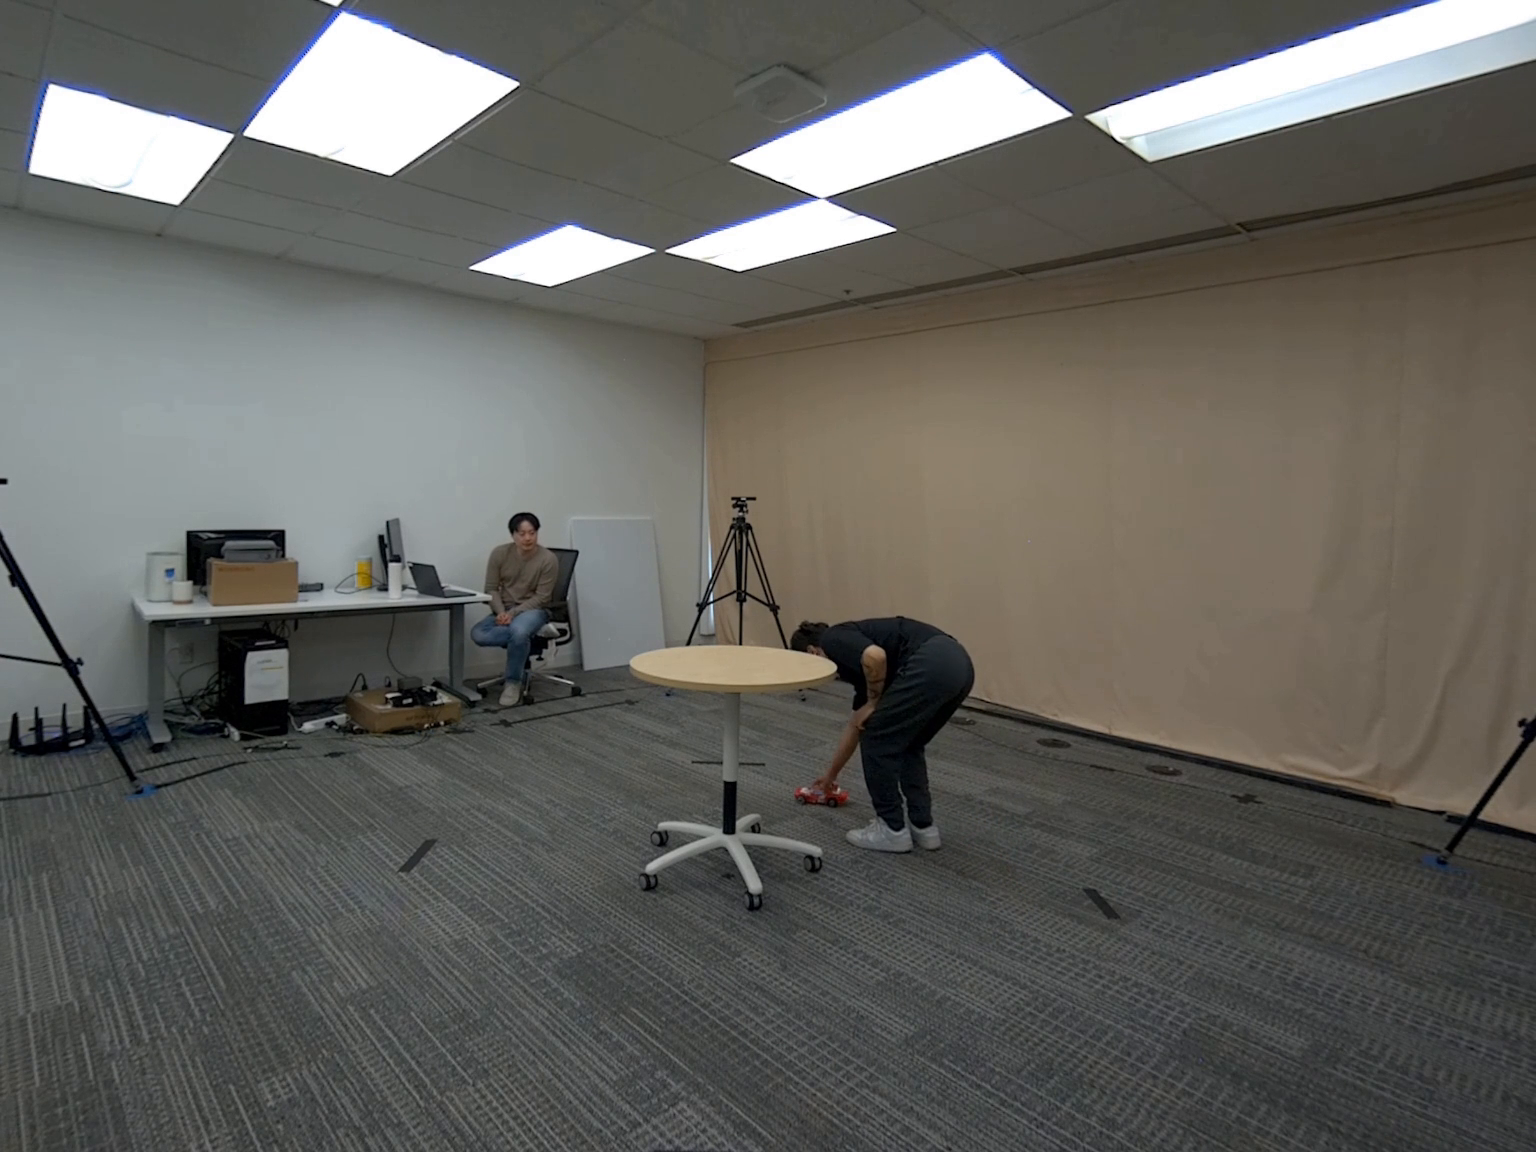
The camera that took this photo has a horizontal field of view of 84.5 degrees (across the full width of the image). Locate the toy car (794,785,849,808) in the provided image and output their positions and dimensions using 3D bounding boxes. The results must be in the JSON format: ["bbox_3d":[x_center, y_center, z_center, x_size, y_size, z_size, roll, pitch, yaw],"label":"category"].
[{"bbox_3d":[0.247,1.018,3.900,0.256,0.083,0.130,-8,4,11],"label":"toy car"}]
